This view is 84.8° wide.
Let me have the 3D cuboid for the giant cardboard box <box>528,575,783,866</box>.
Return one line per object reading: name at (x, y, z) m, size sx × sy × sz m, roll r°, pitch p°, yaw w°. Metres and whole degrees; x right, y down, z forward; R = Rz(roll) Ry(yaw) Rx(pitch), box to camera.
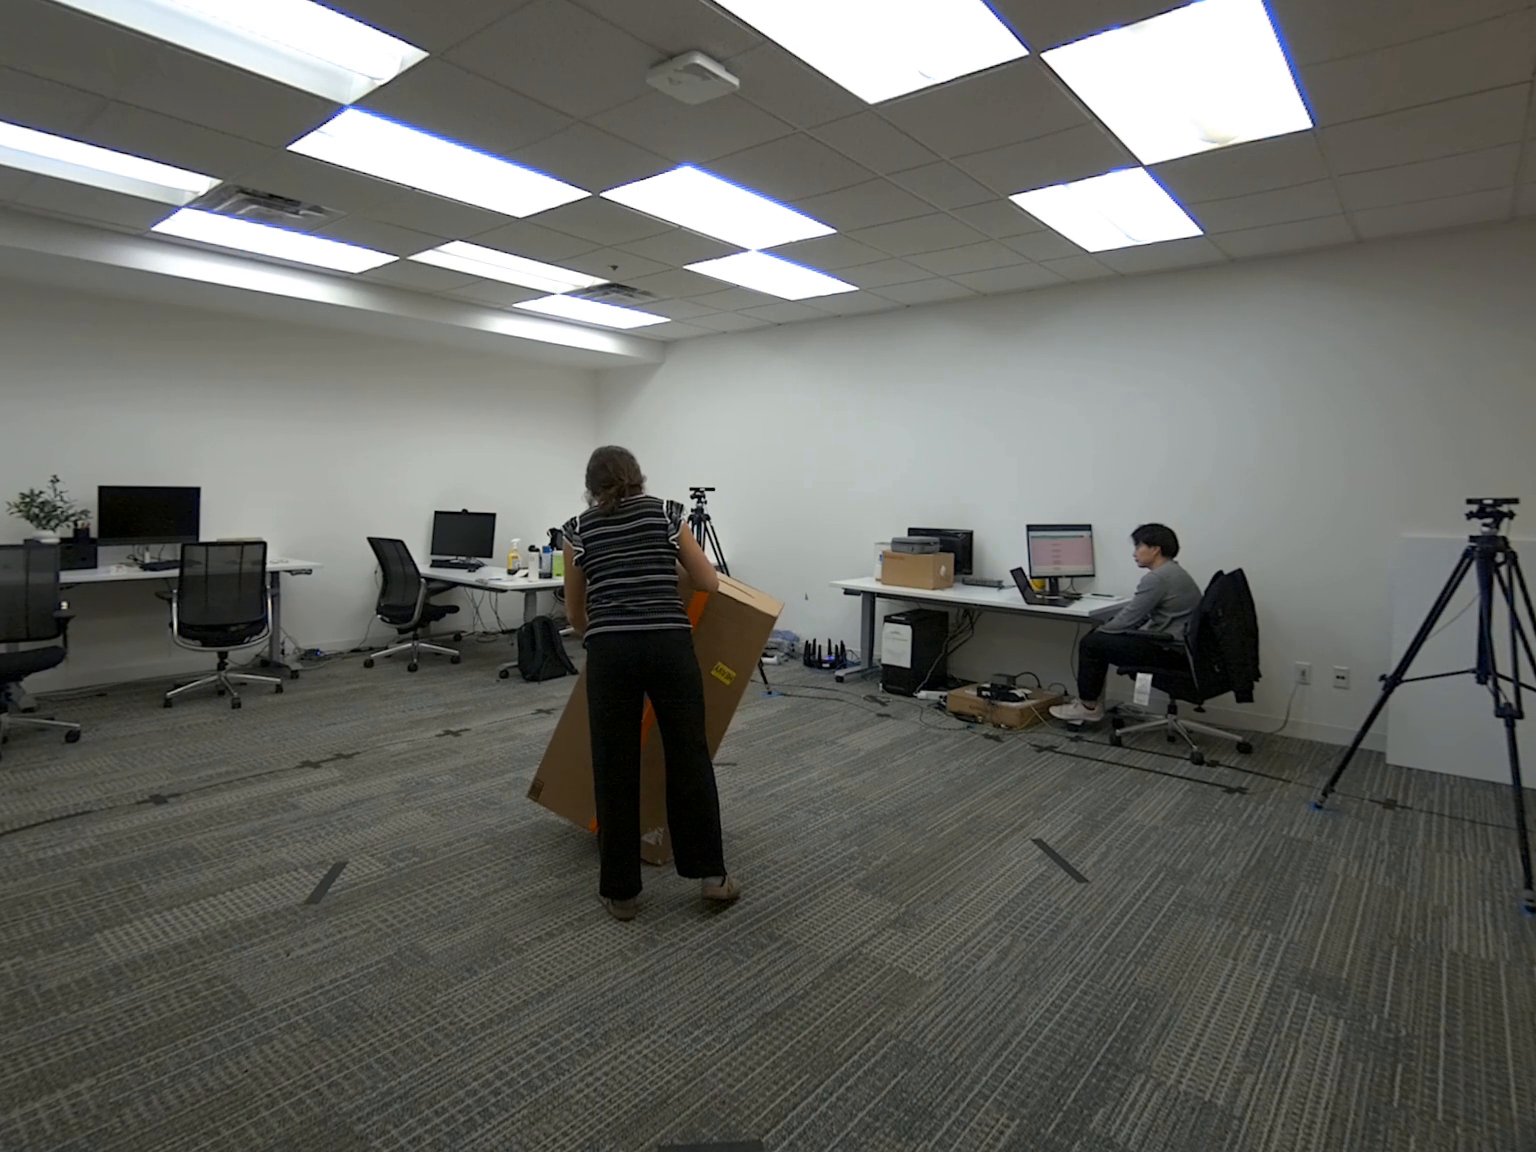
giant cardboard box at (-0.435, 0.467, 3.305) m, size 0.581 × 1.023 × 0.425 m, roll 25°, pitch 5°, yaw 3°
